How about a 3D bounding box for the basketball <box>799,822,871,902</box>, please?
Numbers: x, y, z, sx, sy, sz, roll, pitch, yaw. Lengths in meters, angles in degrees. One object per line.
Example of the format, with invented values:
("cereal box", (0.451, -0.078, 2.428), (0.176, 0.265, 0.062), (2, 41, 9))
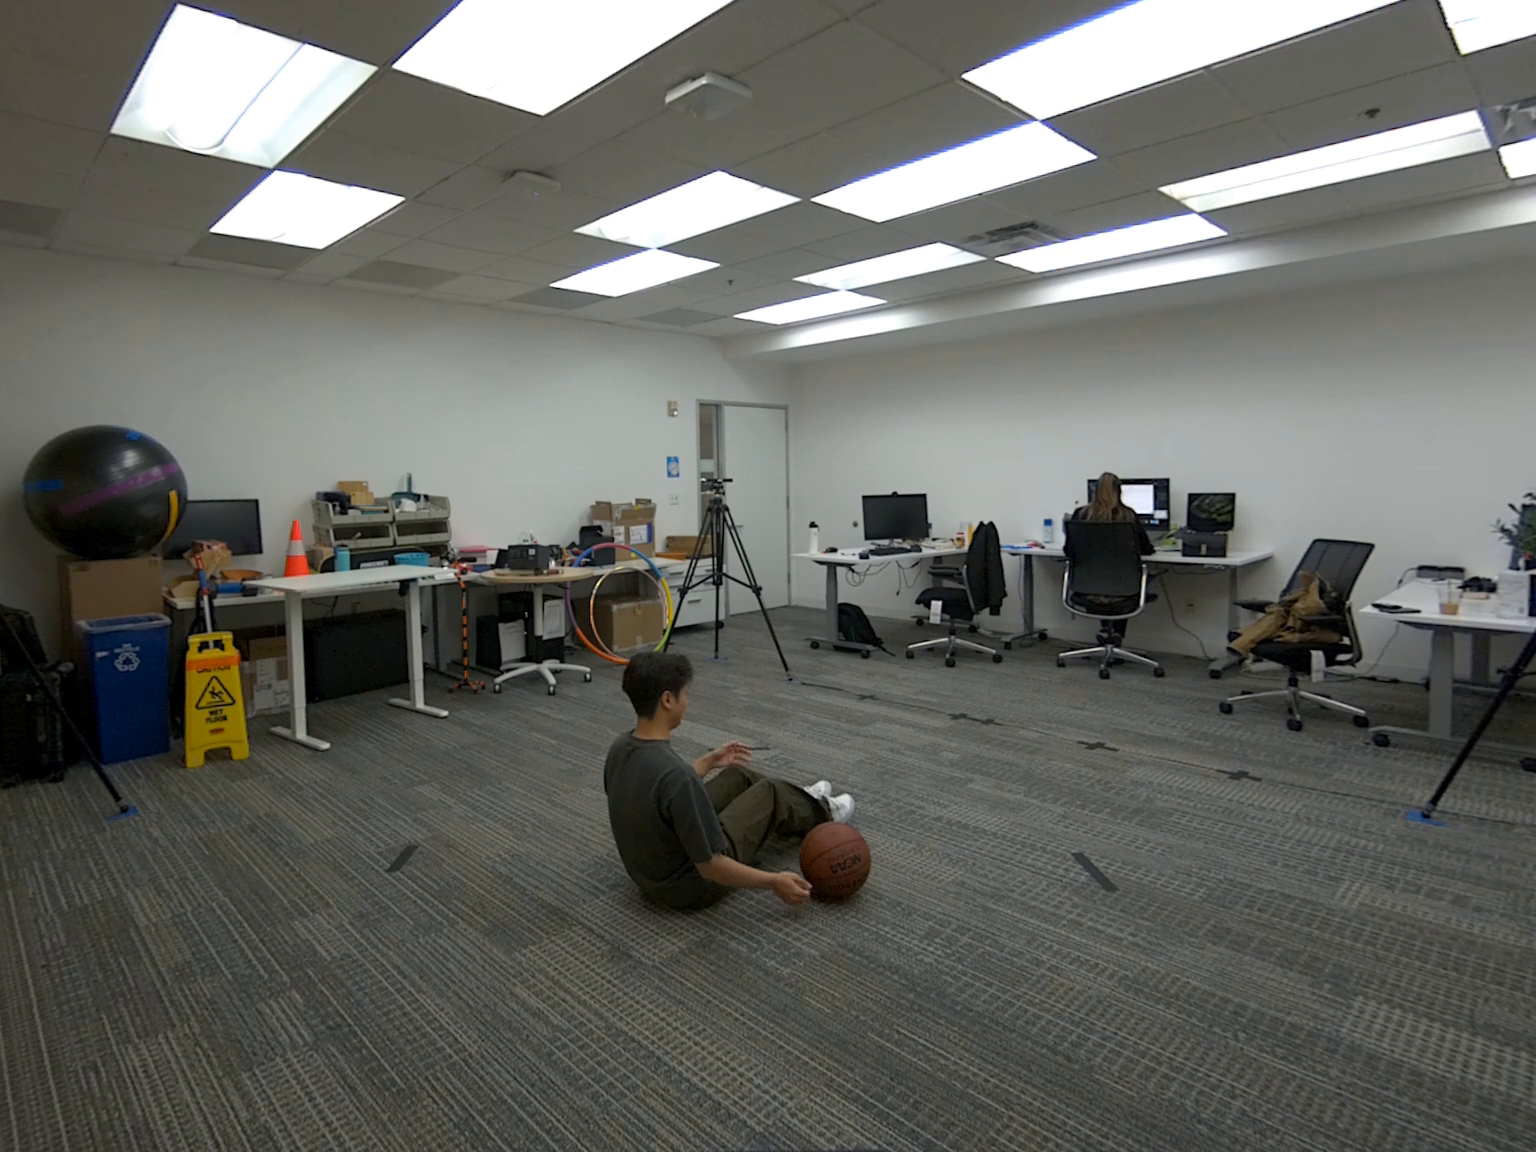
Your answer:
("basketball", (0.224, 0.942, 2.857), (0.236, 0.235, 0.237), (-1, 5, -2))
